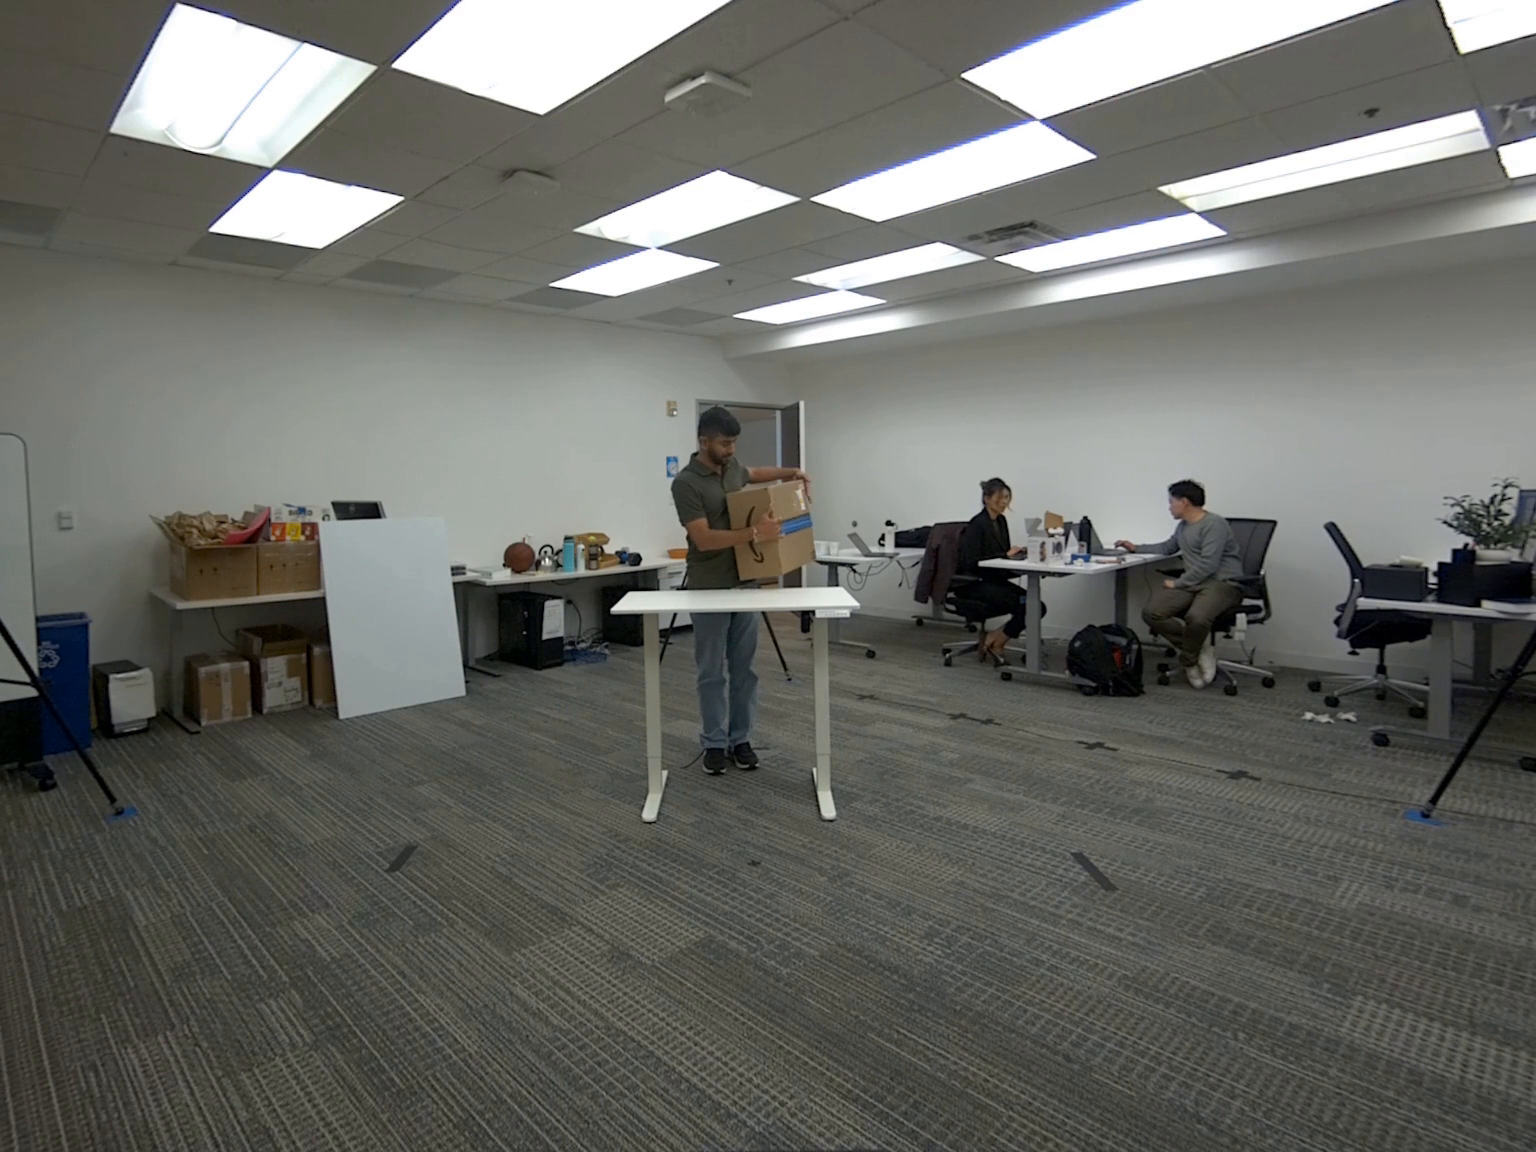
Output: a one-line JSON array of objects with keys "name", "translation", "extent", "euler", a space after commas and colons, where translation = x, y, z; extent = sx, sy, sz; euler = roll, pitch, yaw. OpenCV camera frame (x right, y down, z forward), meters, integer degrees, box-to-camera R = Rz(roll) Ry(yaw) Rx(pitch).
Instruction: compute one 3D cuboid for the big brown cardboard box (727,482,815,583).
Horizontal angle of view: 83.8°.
[{"name": "big brown cardboard box", "translation": [0.021, -0.236, 4.233], "extent": [0.237, 0.416, 0.581], "euler": [-8, 6, 23]}]
